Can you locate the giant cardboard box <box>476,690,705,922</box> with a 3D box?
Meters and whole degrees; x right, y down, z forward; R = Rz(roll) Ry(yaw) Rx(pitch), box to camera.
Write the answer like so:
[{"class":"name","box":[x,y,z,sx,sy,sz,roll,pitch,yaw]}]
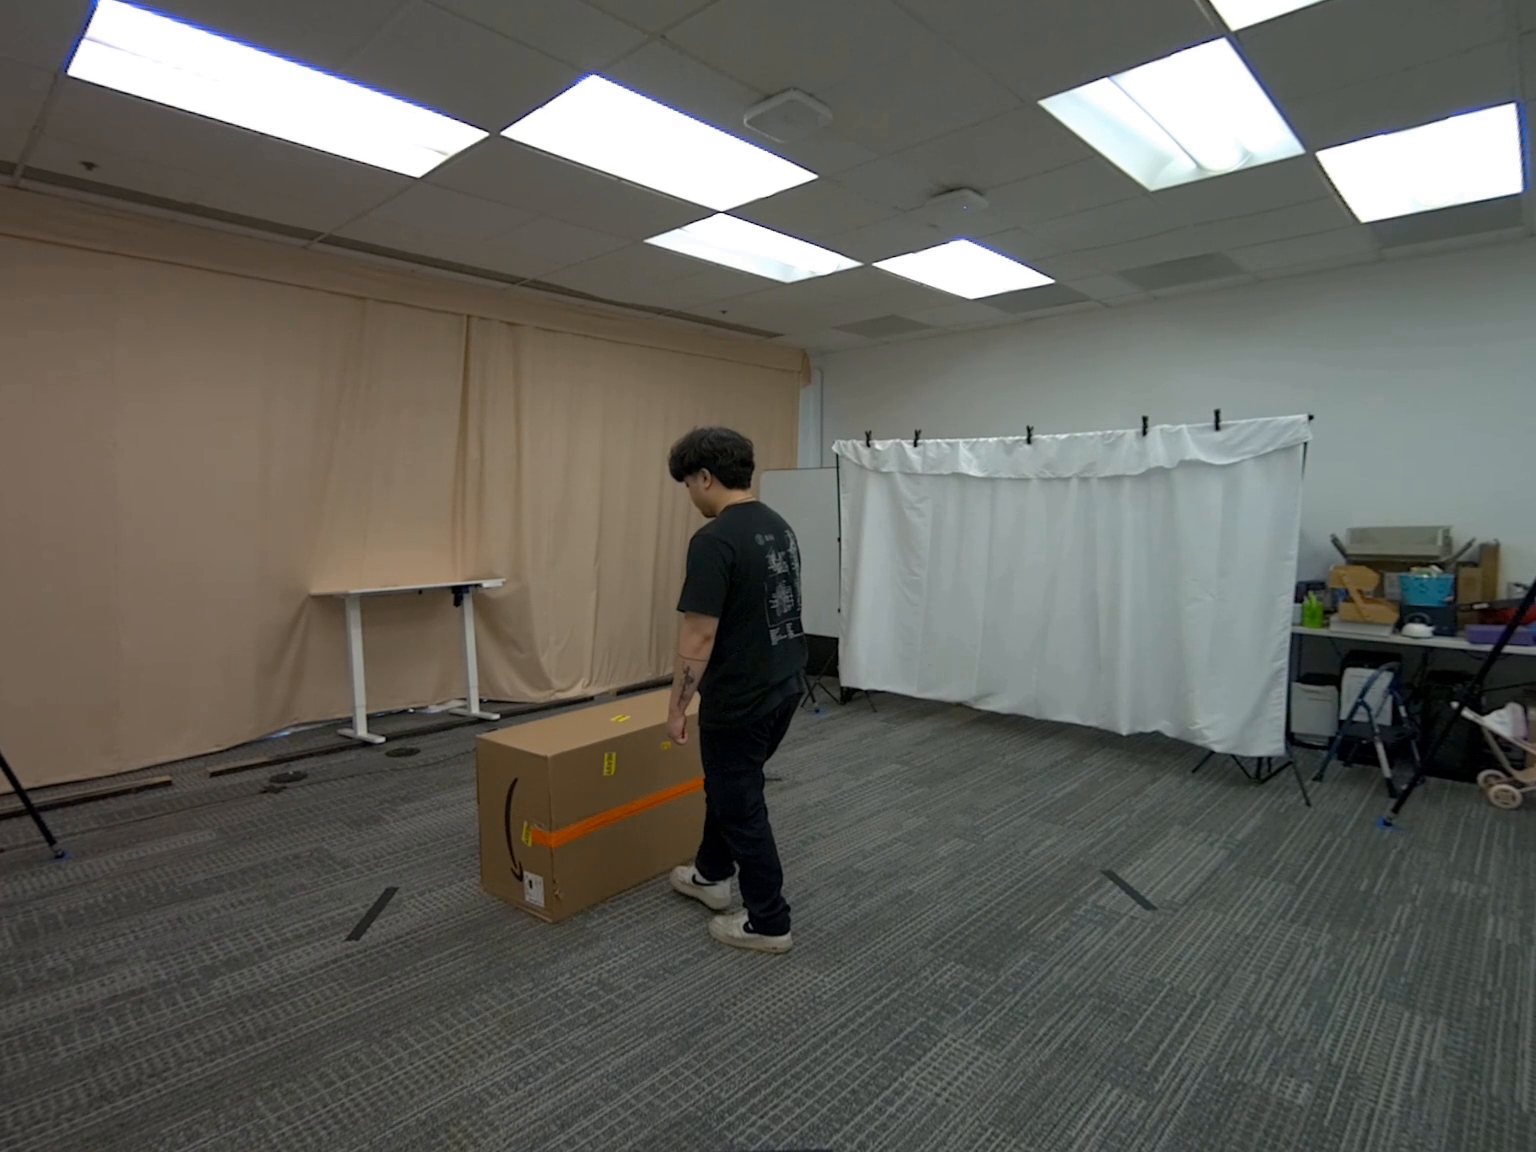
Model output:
[{"class":"giant cardboard box","box":[-0.579,0.836,3.312,0.461,0.582,0.997,3,6,39]}]
